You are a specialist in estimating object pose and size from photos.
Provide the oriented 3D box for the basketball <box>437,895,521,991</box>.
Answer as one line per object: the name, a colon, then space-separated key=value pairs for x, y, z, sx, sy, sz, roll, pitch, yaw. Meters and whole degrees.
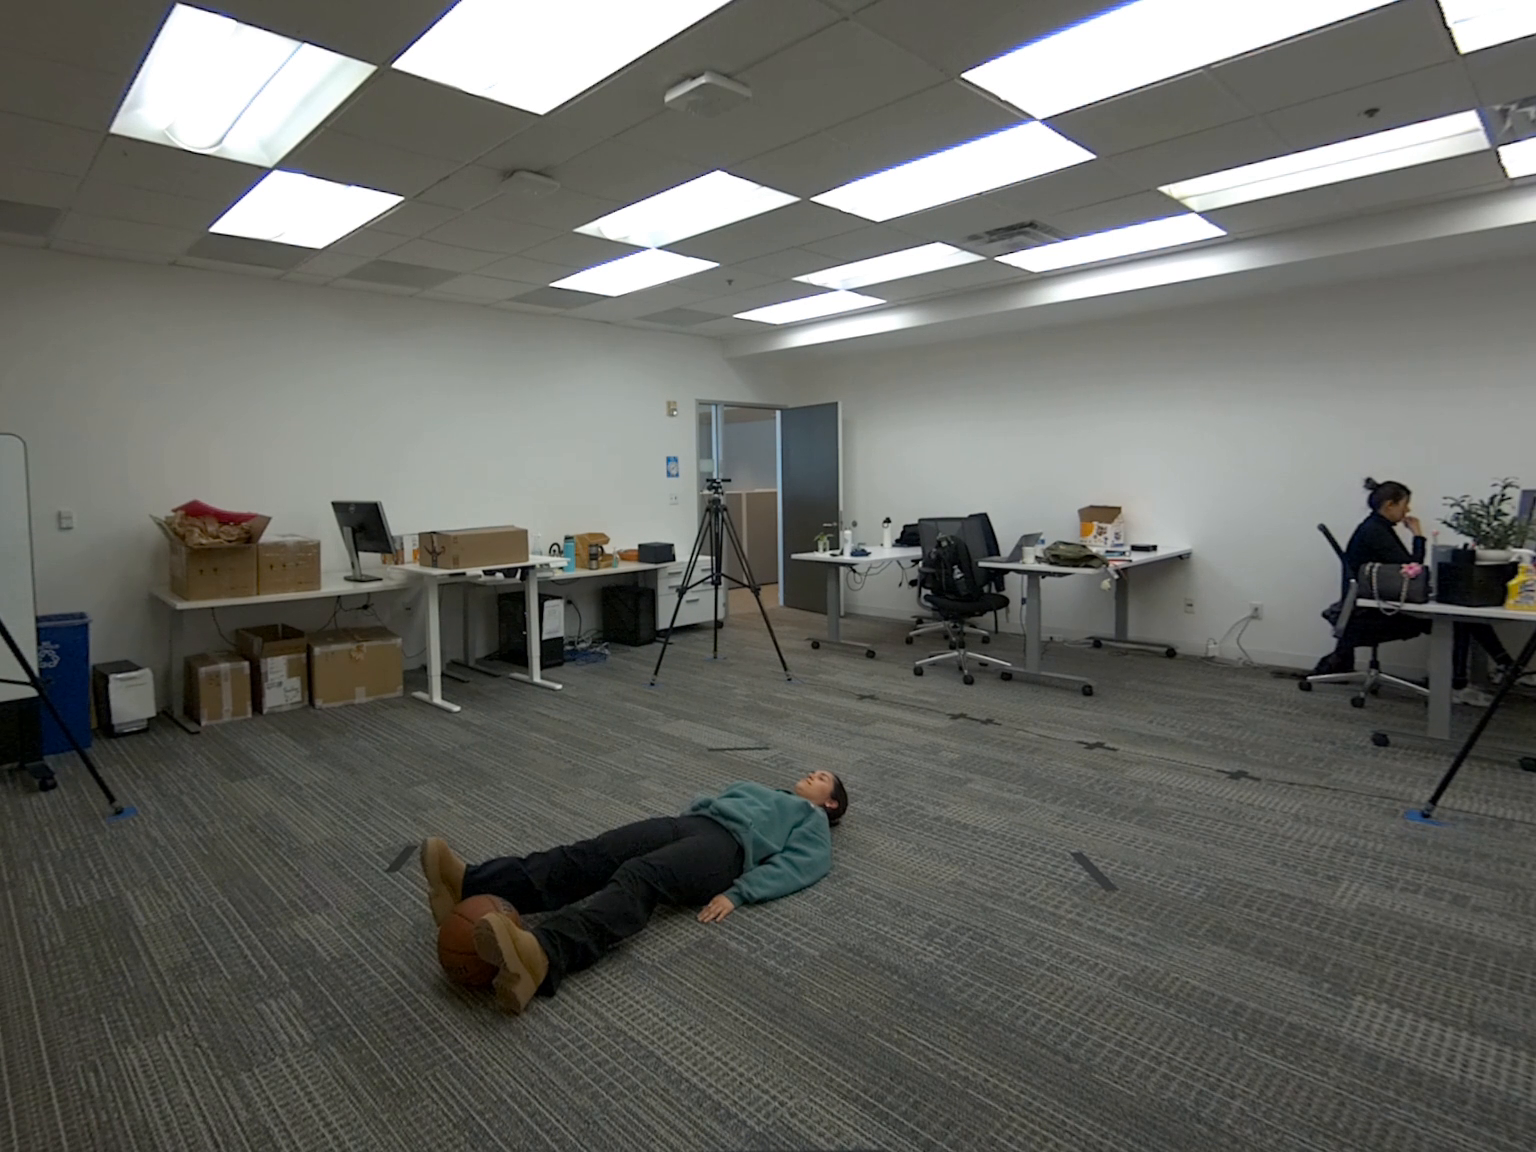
basketball: x=-0.801 y=1.030 z=2.400 sx=0.236 sy=0.235 sz=0.237 roll=-1 pitch=4 yaw=-2
